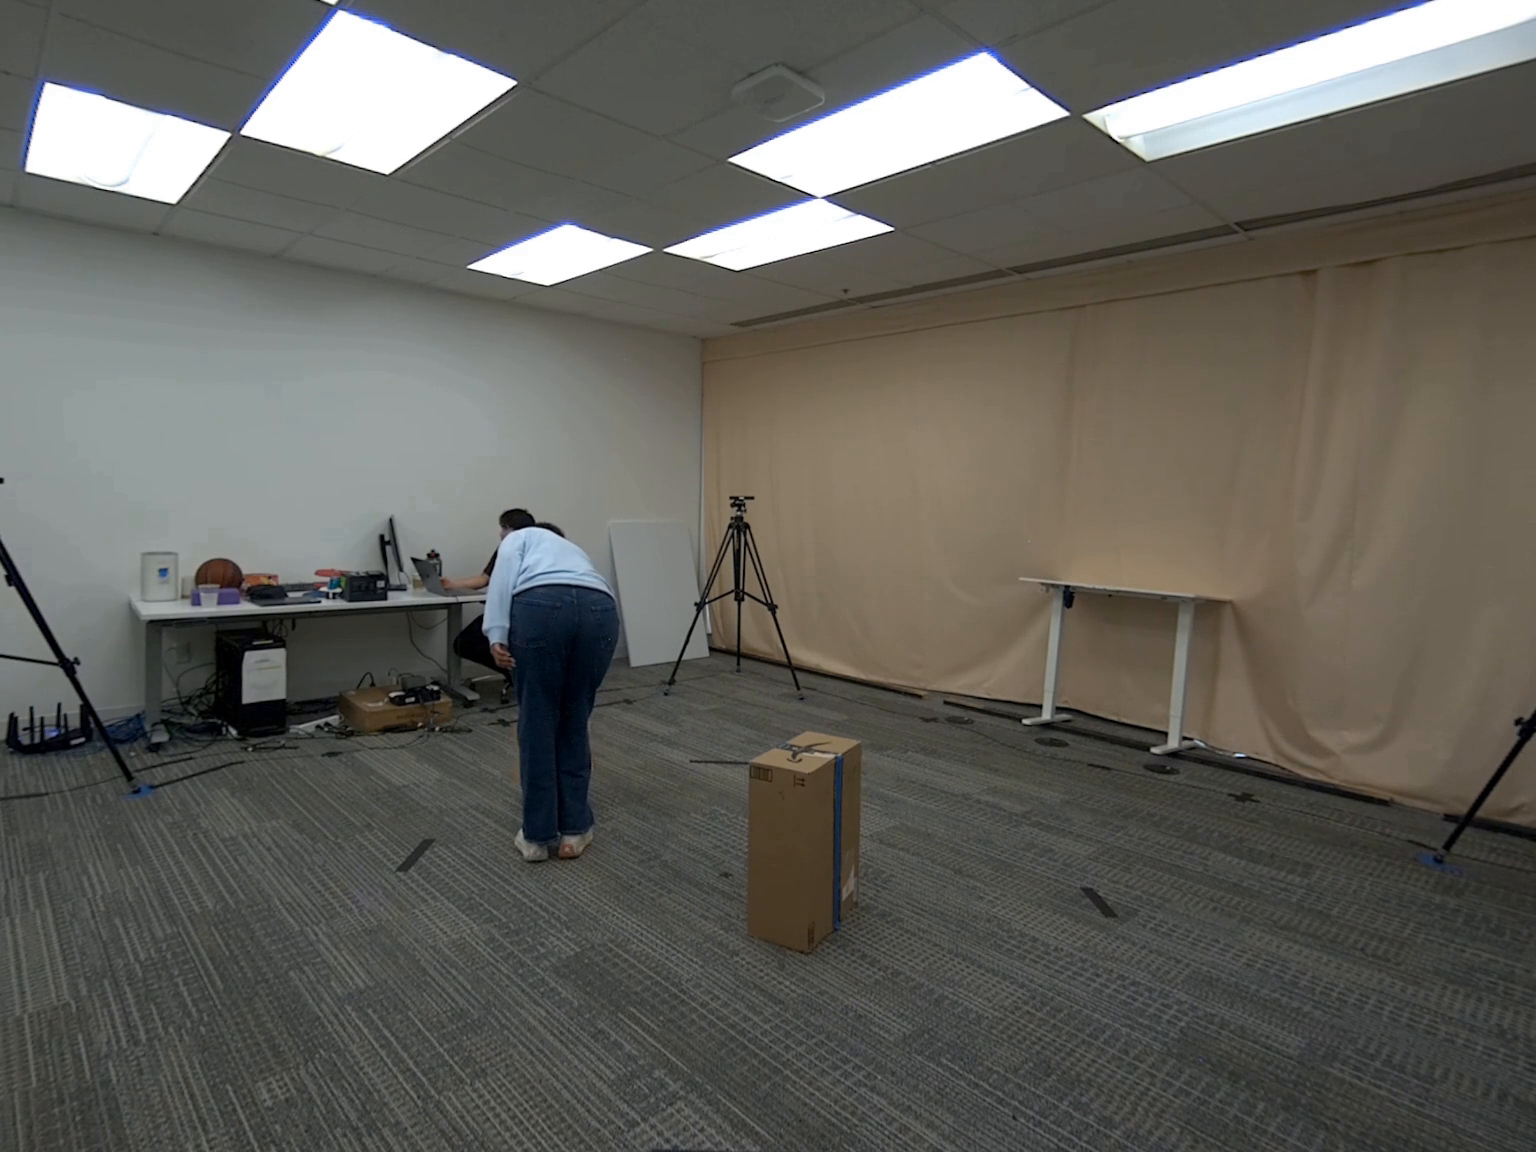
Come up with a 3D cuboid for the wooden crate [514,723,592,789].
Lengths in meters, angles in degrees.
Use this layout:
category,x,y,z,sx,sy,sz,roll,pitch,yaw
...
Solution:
category,x,y,z,sx,sy,sz,roll,pitch,yaw
wooden crate,-0.988,0.786,3.806,0.318,0.276,0.305,-6,-12,-34
